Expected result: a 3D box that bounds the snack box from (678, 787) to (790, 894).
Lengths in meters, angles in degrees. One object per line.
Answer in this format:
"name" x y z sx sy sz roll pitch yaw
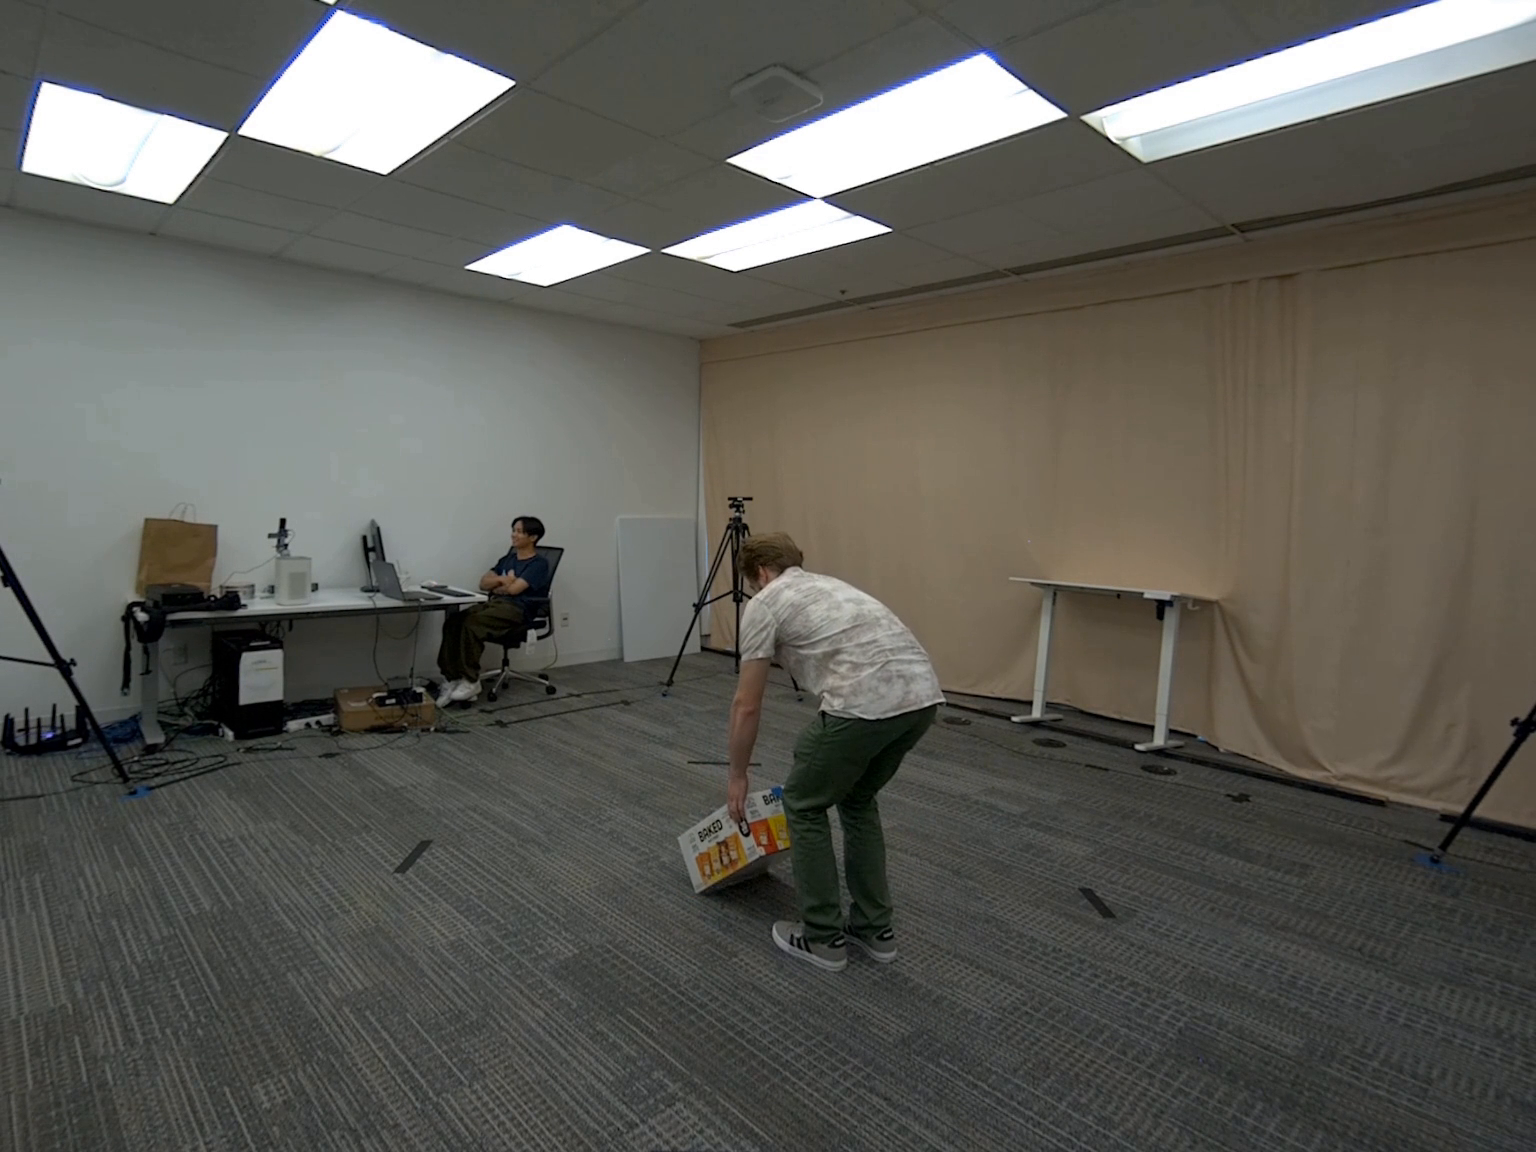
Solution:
"snack box" -0.055 0.916 2.961 0.332 0.210 0.405 0 -33 -41
